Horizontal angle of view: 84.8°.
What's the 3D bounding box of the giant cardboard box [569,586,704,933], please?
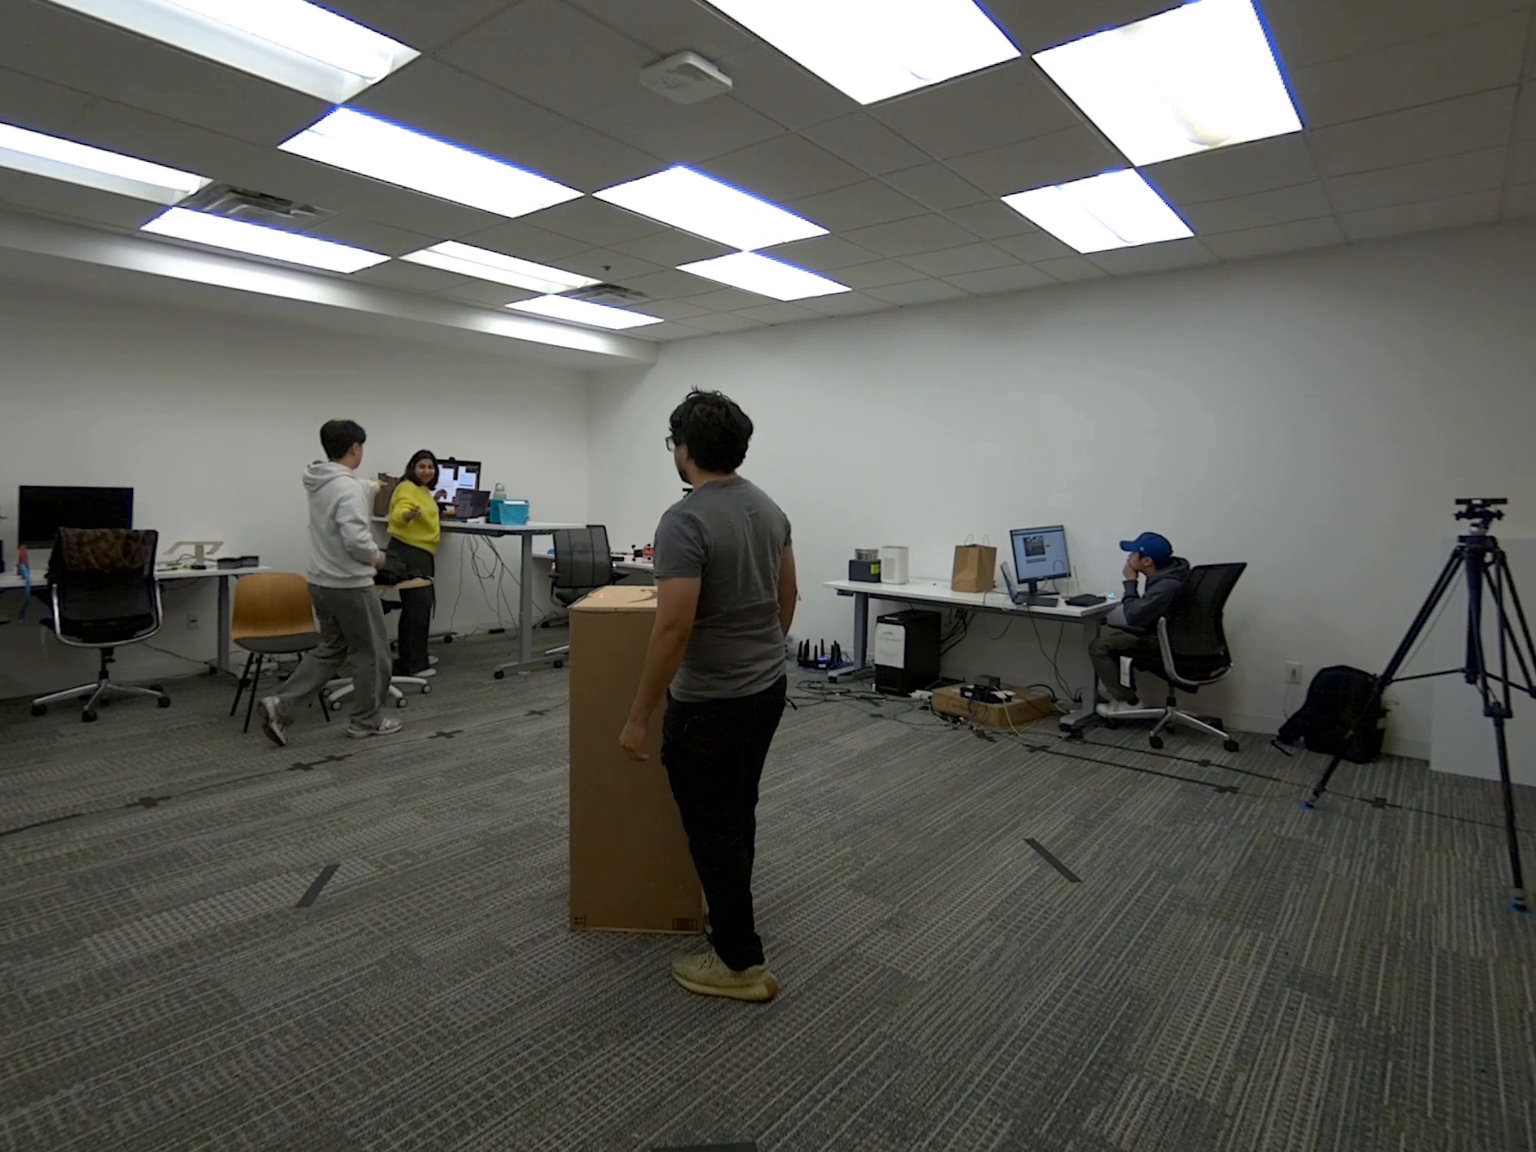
[{"bbox_3d":[-0.421,0.577,2.905,0.447,1.024,0.585,1,3,0],"label":"giant cardboard box"}]
